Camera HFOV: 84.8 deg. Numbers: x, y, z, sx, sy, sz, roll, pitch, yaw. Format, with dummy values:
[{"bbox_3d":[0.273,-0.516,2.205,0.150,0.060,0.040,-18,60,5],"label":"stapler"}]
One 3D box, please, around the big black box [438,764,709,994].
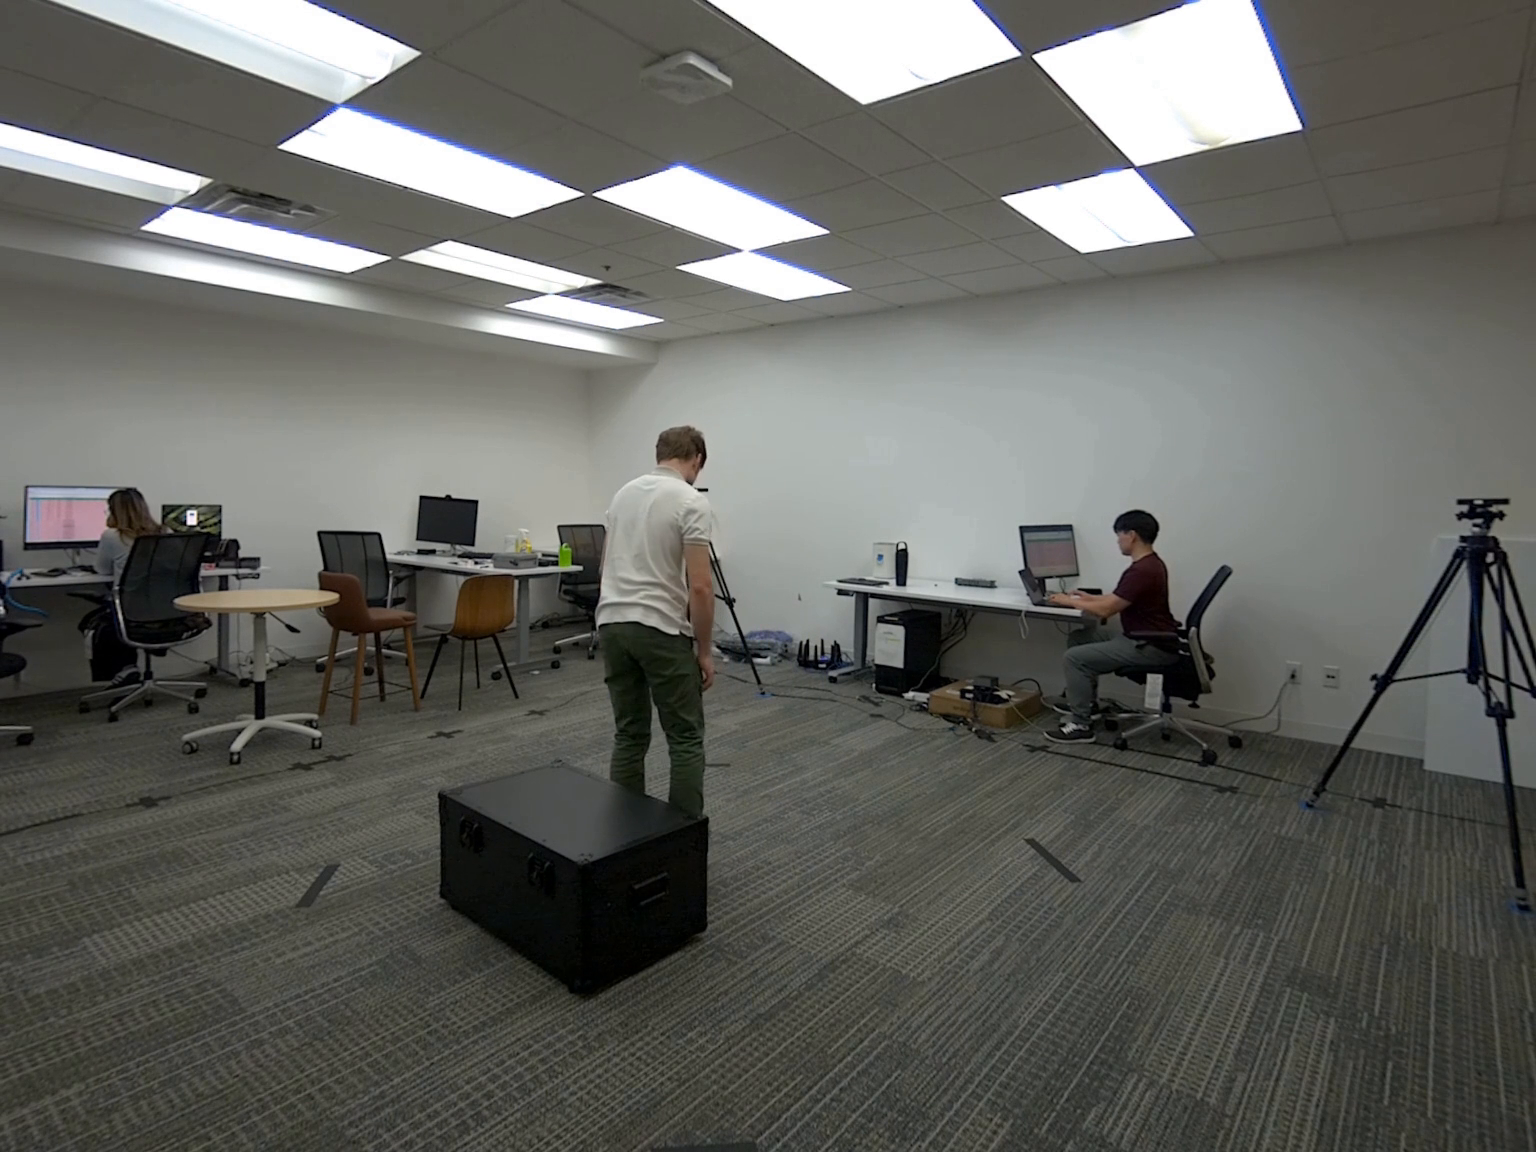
[{"bbox_3d":[-0.669,0.902,2.741,0.898,0.383,0.508,5,8,42],"label":"big black box"}]
